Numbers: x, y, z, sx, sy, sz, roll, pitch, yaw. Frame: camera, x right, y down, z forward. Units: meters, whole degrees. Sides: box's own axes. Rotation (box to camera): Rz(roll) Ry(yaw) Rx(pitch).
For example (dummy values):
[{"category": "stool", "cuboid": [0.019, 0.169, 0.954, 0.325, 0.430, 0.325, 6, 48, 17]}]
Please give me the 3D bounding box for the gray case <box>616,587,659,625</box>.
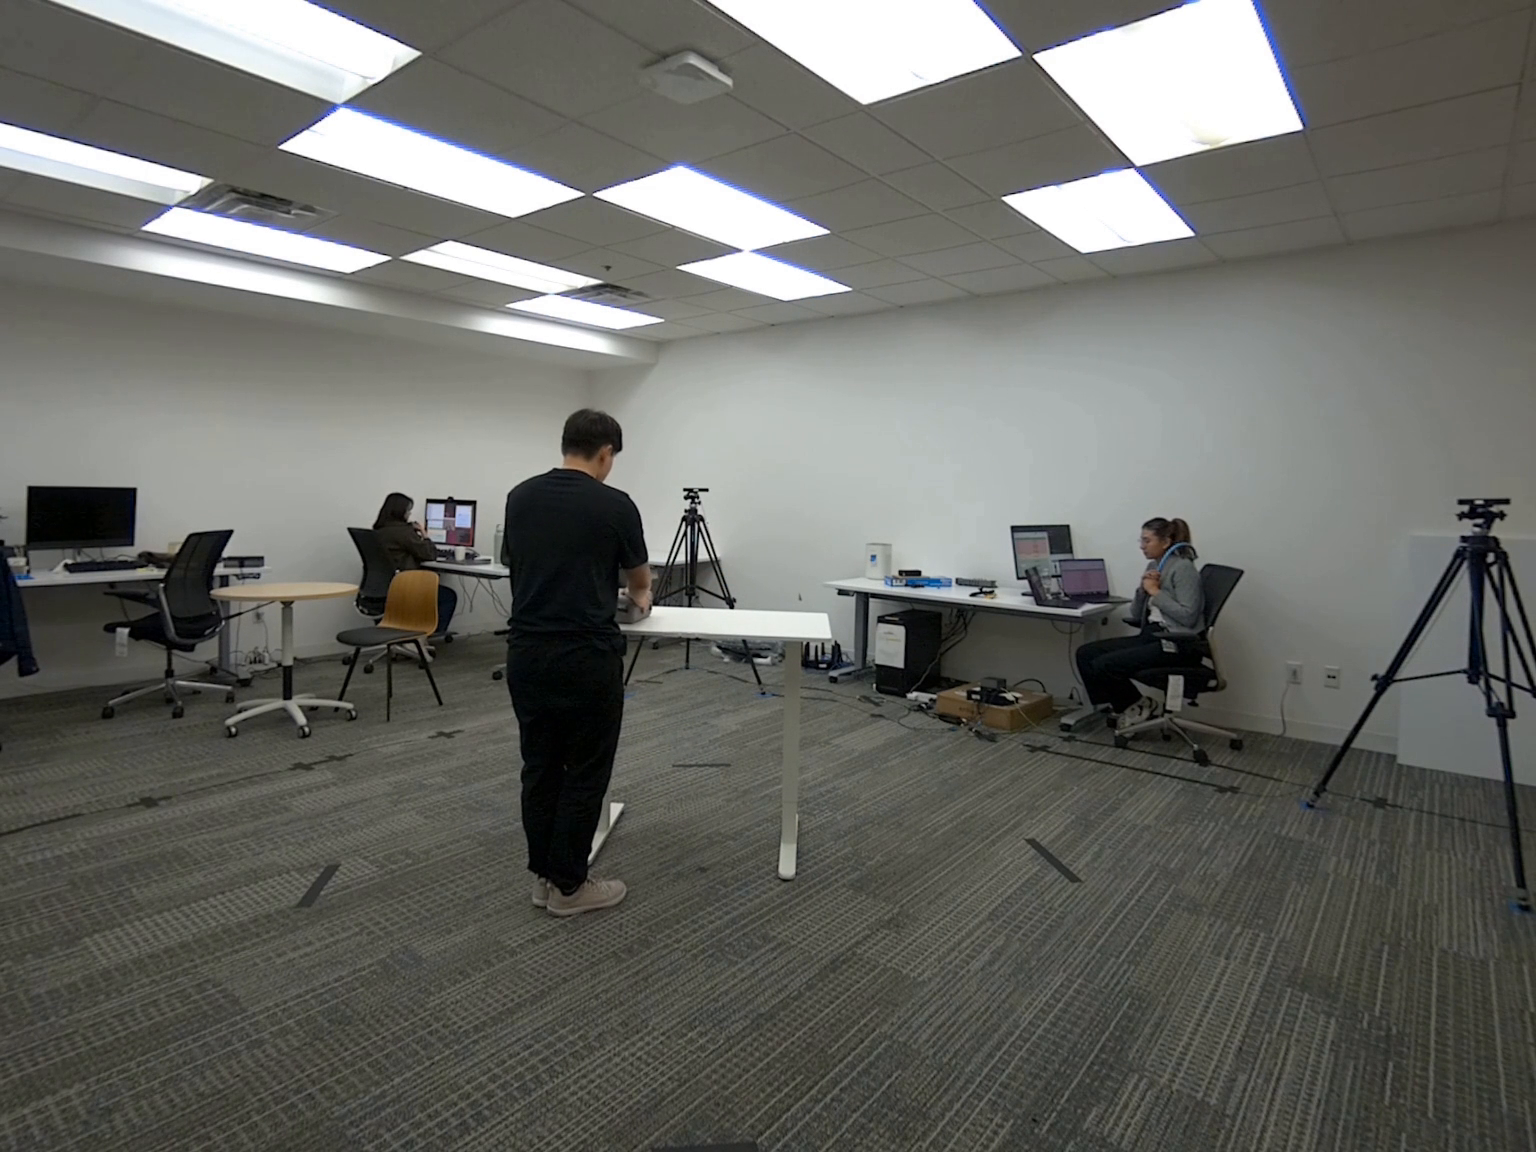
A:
[{"category": "gray case", "cuboid": [-0.597, 0.111, 3.293, 0.261, 0.104, 0.258, 0, 6, 14]}]
